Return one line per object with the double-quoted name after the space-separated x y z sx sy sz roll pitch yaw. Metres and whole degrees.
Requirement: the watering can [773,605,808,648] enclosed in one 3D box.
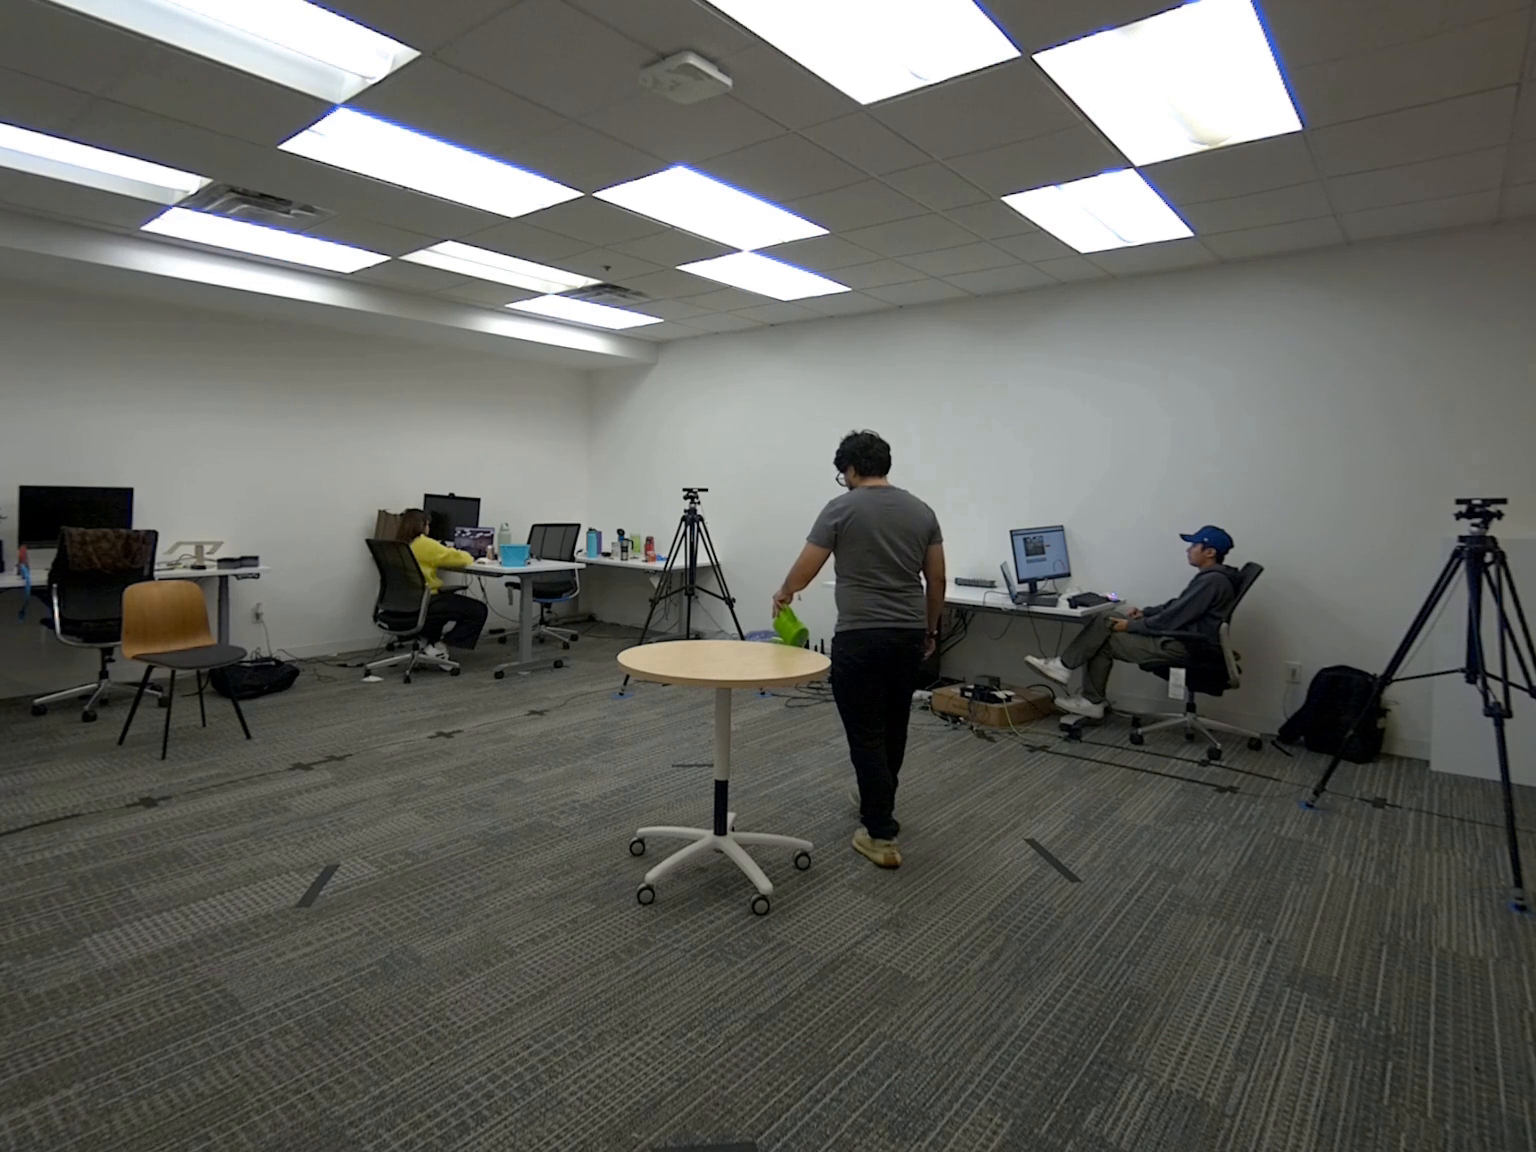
0.076 0.233 3.597 0.097 0.269 0.184 -30 55 -17 "watering can"
